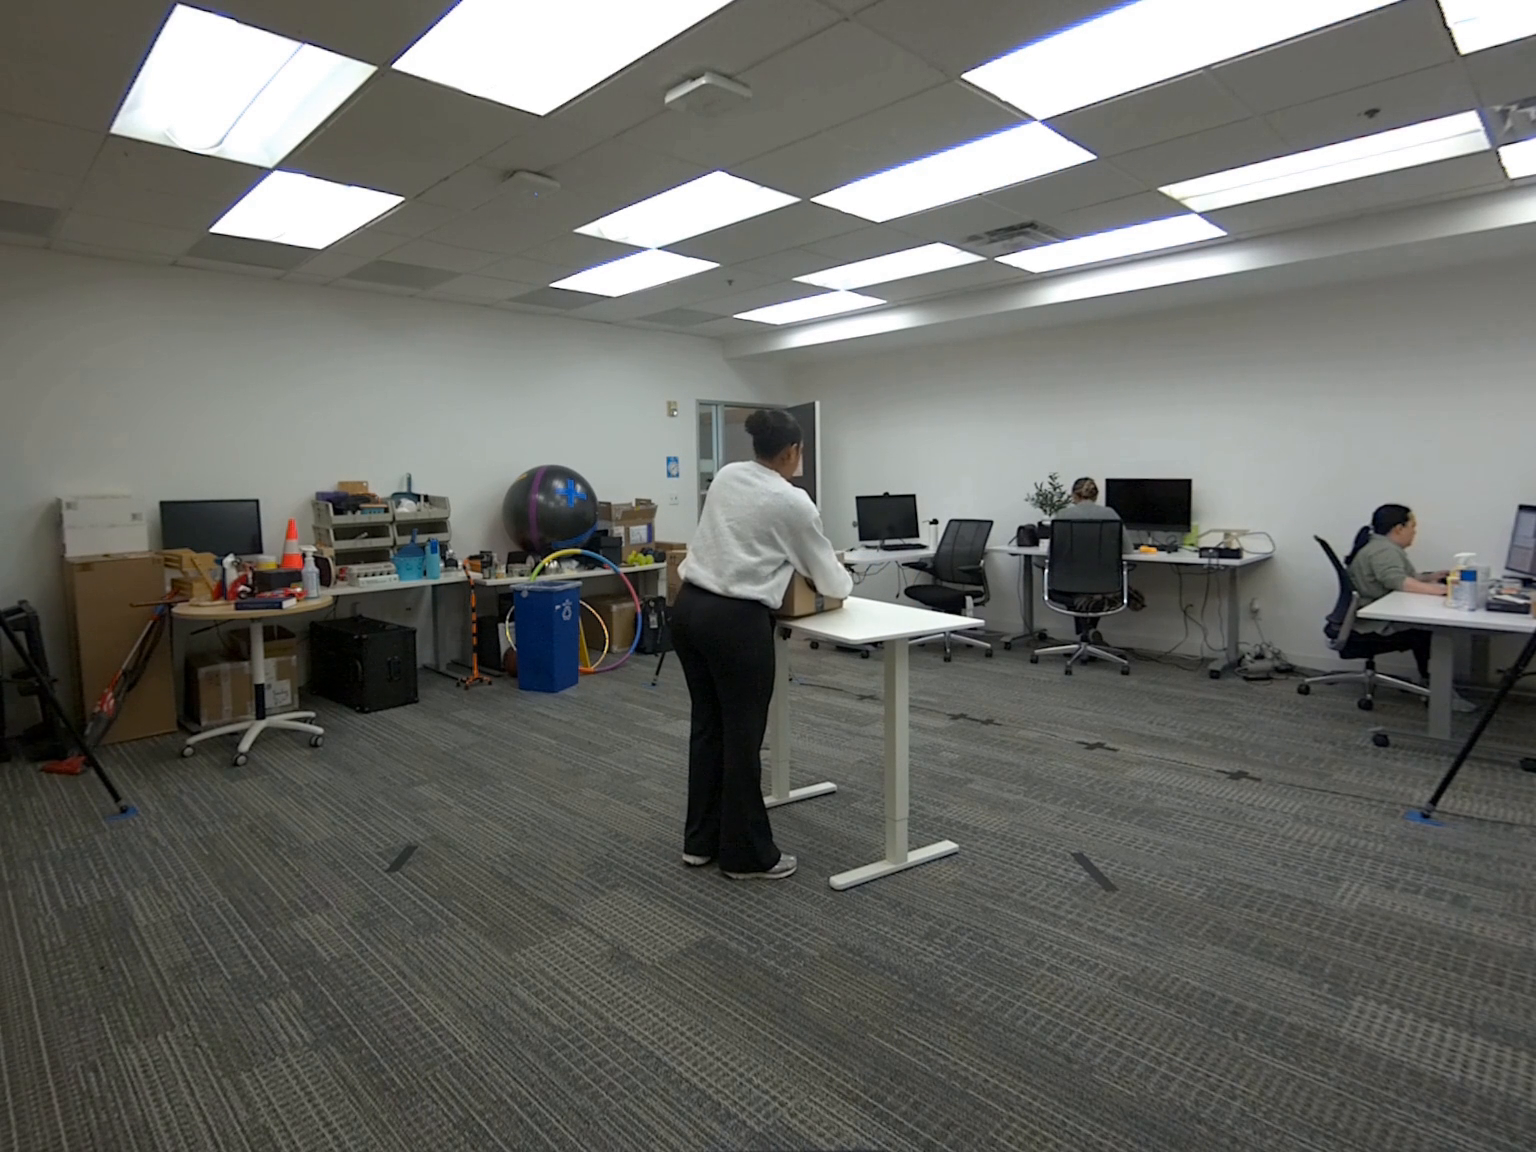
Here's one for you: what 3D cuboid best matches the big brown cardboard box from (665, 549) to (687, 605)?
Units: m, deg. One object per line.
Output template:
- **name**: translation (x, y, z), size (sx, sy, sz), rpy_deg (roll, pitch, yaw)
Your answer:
- **big brown cardboard box**: translation (-0.039, 0.016, 3.360), size (0.604, 0.233, 0.407), rpy_deg (2, 4, 30)
